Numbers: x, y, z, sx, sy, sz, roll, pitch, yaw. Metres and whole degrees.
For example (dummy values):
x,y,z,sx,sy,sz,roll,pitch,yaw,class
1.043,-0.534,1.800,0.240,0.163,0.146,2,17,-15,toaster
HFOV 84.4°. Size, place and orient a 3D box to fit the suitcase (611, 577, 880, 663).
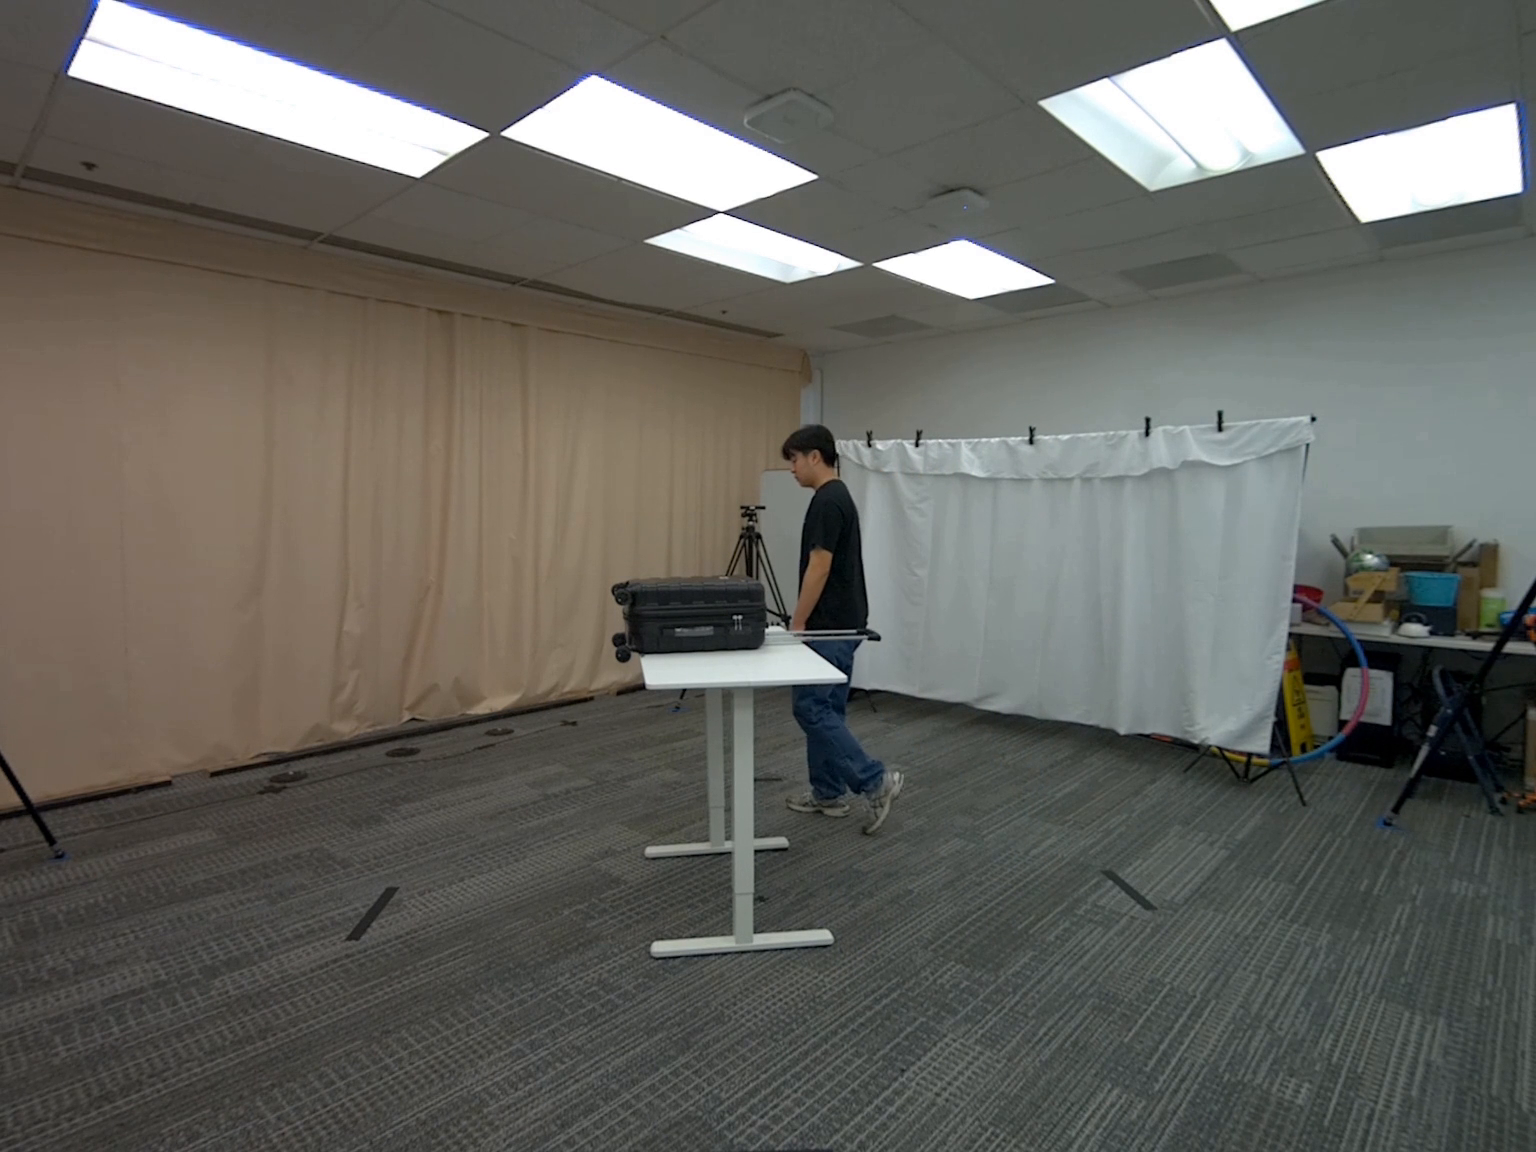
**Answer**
x,y,z,sx,sy,sz,roll,pitch,yaw,class
-0.087,0.126,3.113,0.968,0.256,0.389,-4,4,-11,suitcase
